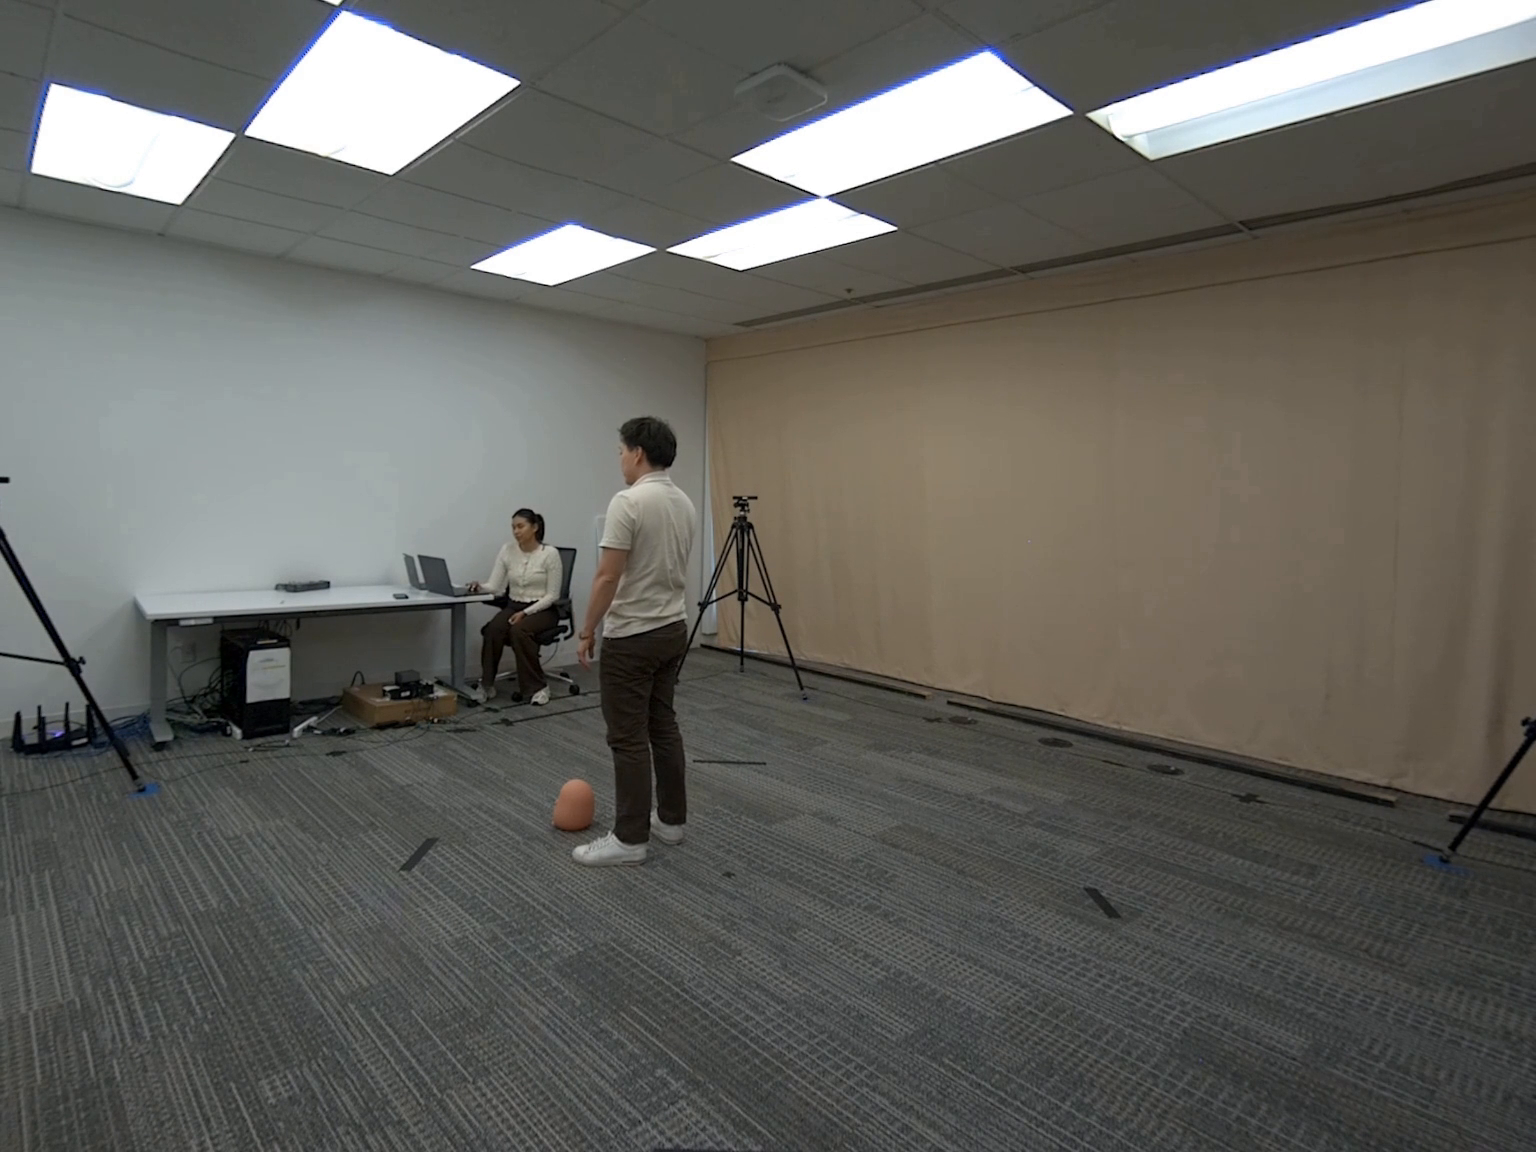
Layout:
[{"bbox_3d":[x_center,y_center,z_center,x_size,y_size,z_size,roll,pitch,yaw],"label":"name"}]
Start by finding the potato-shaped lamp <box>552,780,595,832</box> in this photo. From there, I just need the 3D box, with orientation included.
[{"bbox_3d":[-0.818,0.951,3.523,0.175,0.198,0.161,3,1,31],"label":"potato-shaped lamp"}]
